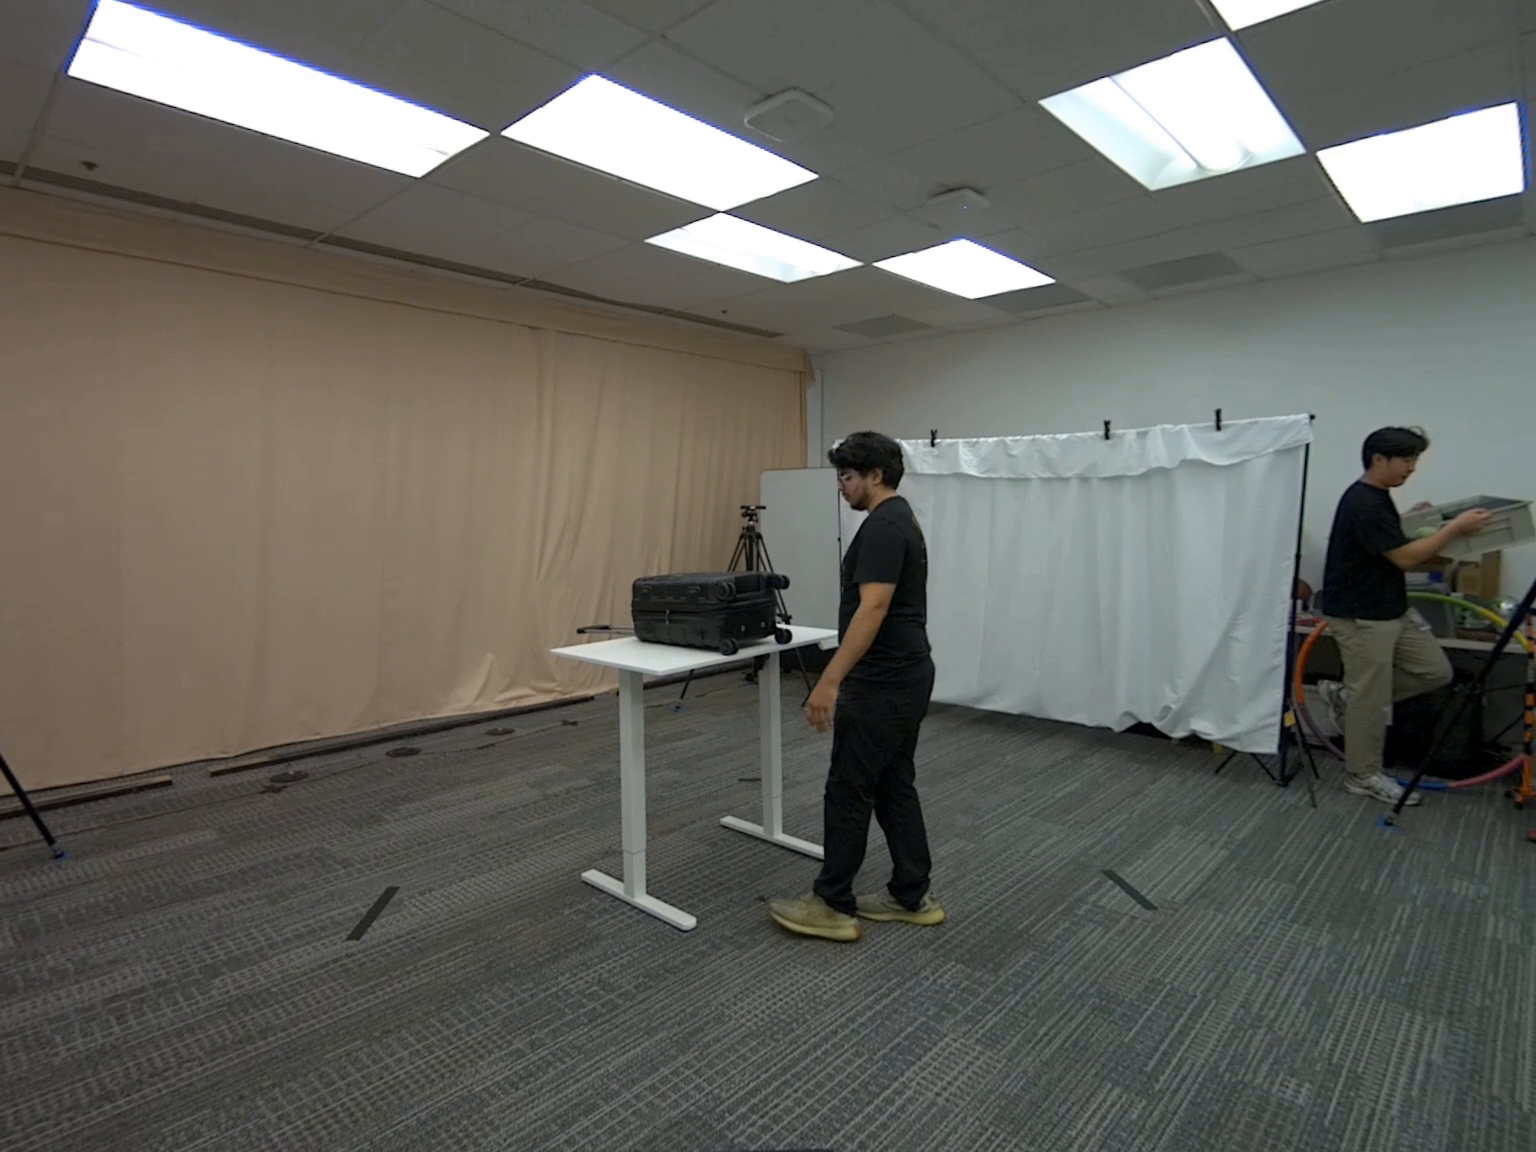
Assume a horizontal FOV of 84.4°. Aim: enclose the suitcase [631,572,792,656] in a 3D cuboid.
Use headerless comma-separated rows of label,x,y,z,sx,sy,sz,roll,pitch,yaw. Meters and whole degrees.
suitcase,-0.384,0.118,3.296,1.011,0.256,0.373,2,6,43
